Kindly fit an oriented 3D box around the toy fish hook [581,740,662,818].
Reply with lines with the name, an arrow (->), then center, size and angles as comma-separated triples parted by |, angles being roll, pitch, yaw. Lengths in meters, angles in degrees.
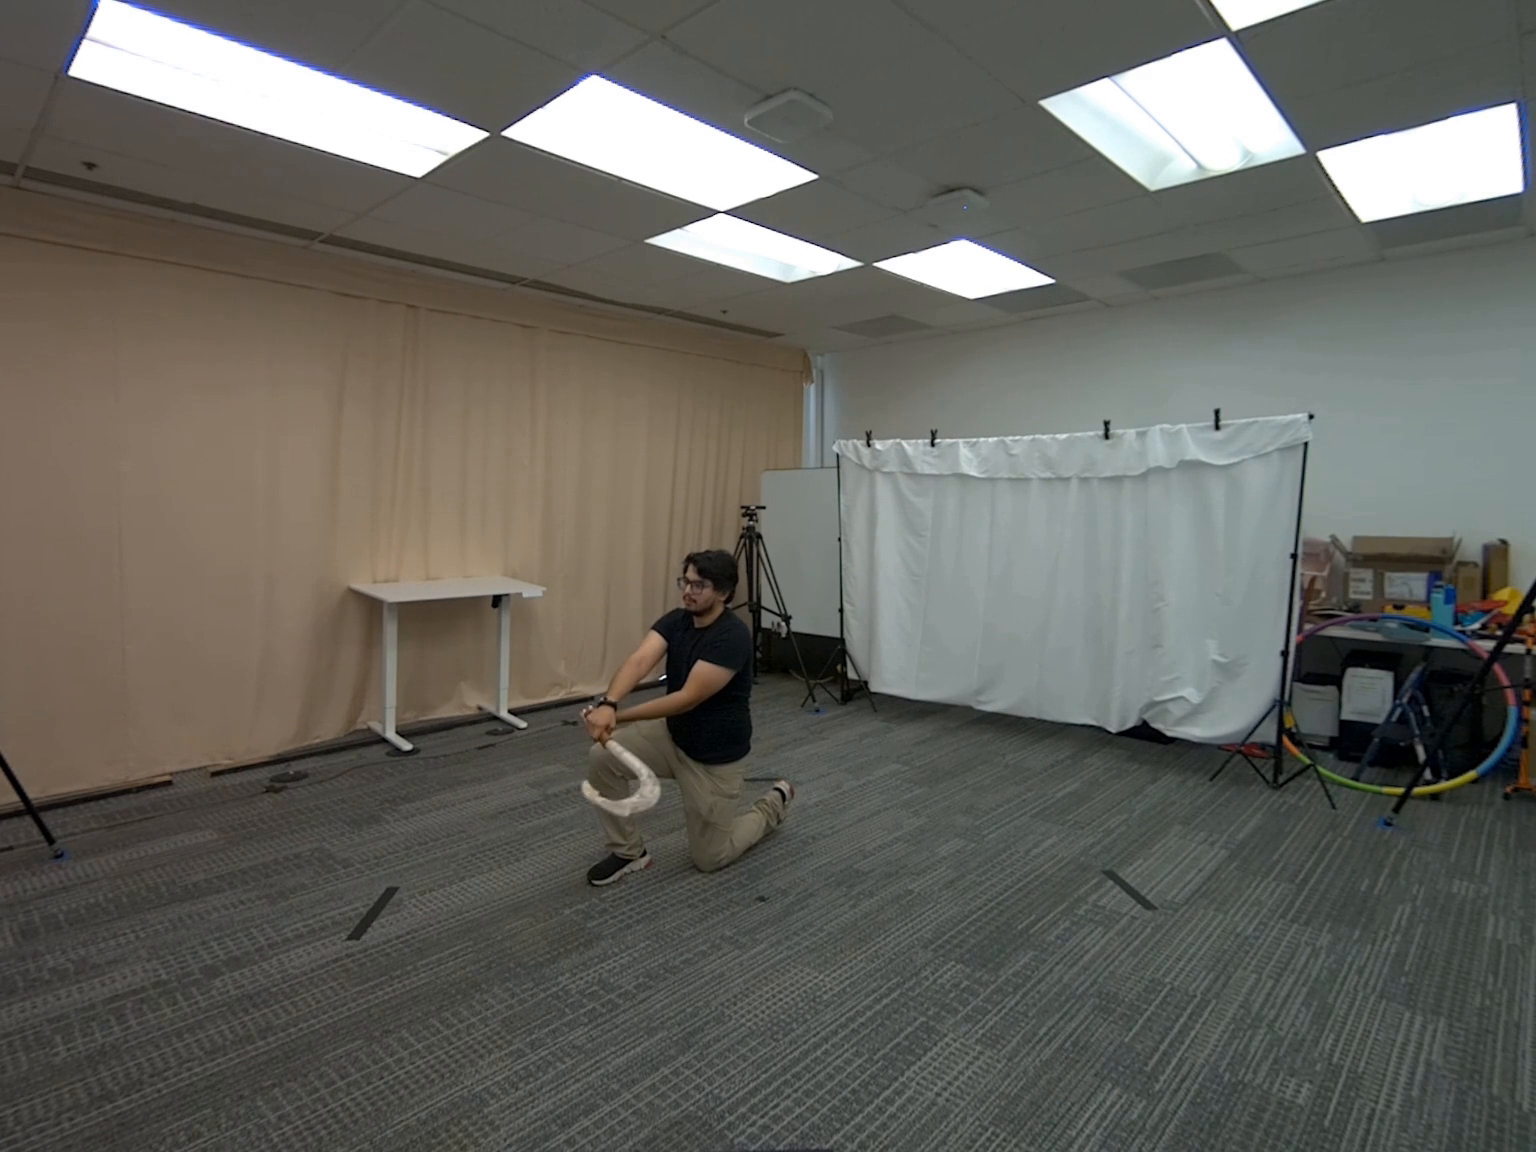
toy fish hook -> -0.519, 0.568, 2.727 | 0.219, 0.048, 0.525 | -9, 30, -31
